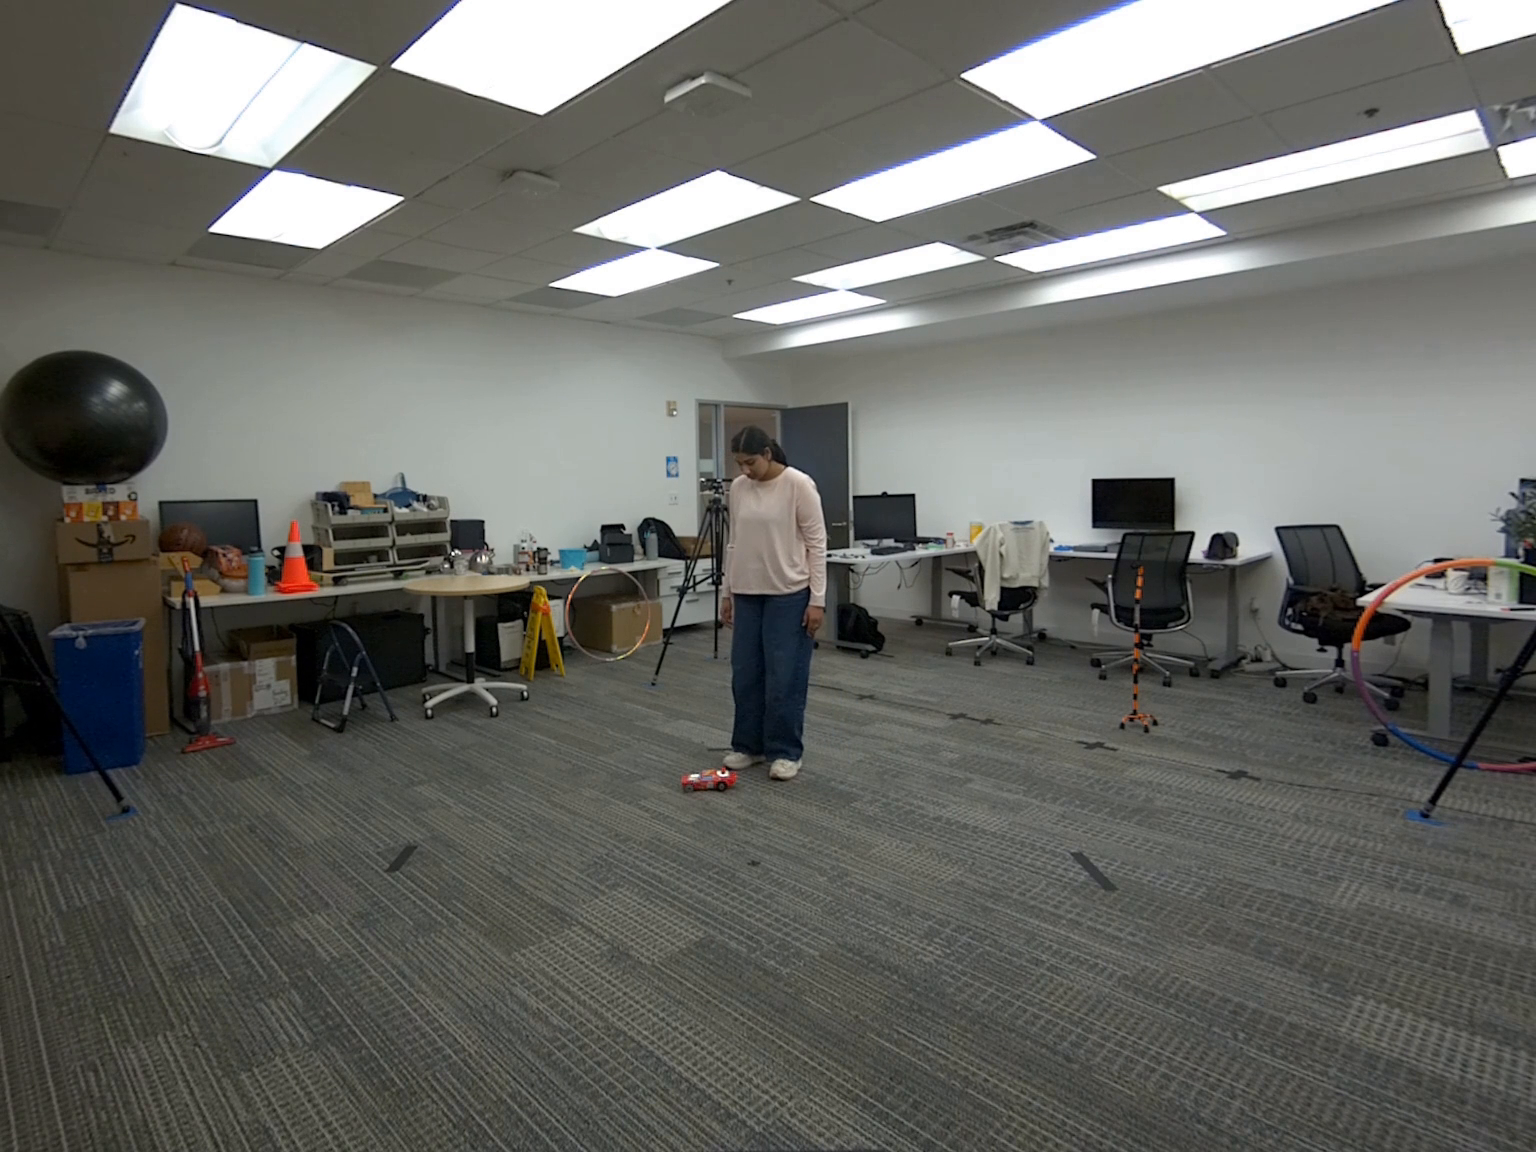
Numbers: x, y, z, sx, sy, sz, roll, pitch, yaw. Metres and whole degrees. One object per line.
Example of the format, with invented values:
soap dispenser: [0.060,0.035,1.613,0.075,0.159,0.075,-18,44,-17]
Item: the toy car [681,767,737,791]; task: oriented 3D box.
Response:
toy car: [-0.265,0.932,3.887,0.255,0.083,0.131,-12,7,0]
